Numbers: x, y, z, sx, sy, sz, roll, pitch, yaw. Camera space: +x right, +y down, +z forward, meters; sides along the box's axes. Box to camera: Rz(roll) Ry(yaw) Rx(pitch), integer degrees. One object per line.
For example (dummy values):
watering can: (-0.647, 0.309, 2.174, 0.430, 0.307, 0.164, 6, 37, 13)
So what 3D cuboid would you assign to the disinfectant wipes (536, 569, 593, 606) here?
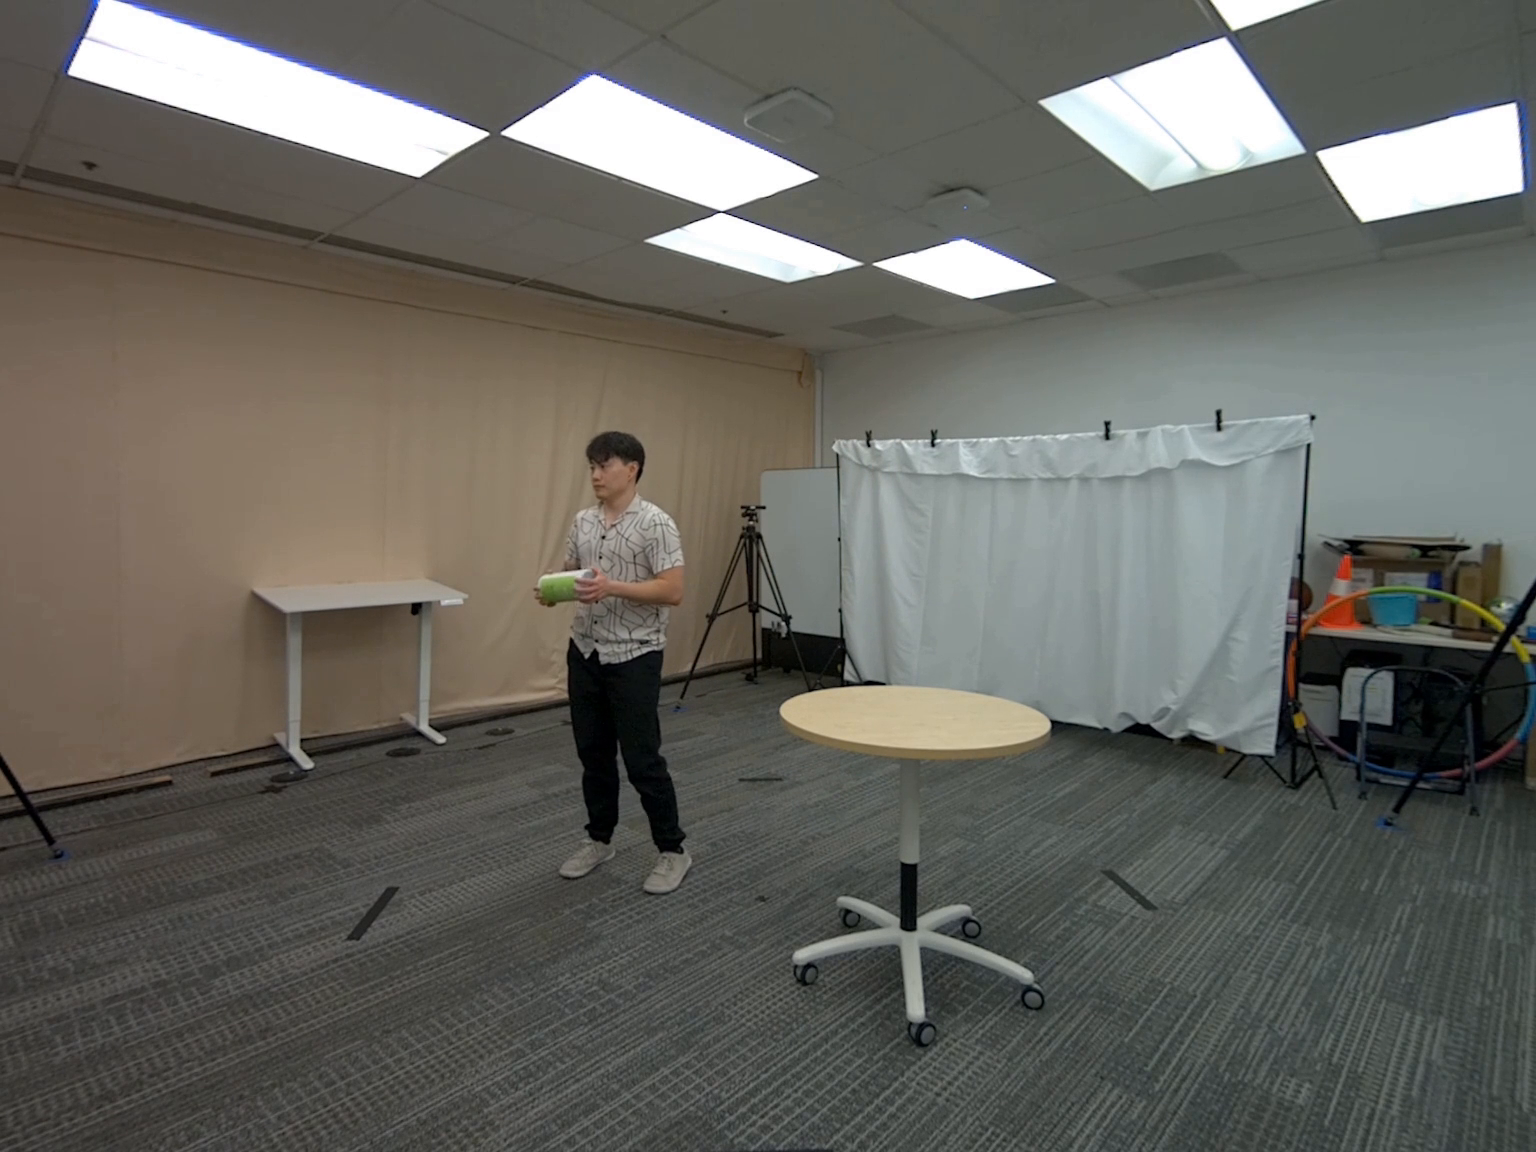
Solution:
disinfectant wipes: (-0.715, 0.040, 3.027, 0.223, 0.118, 0.114, -6, 0, 31)
